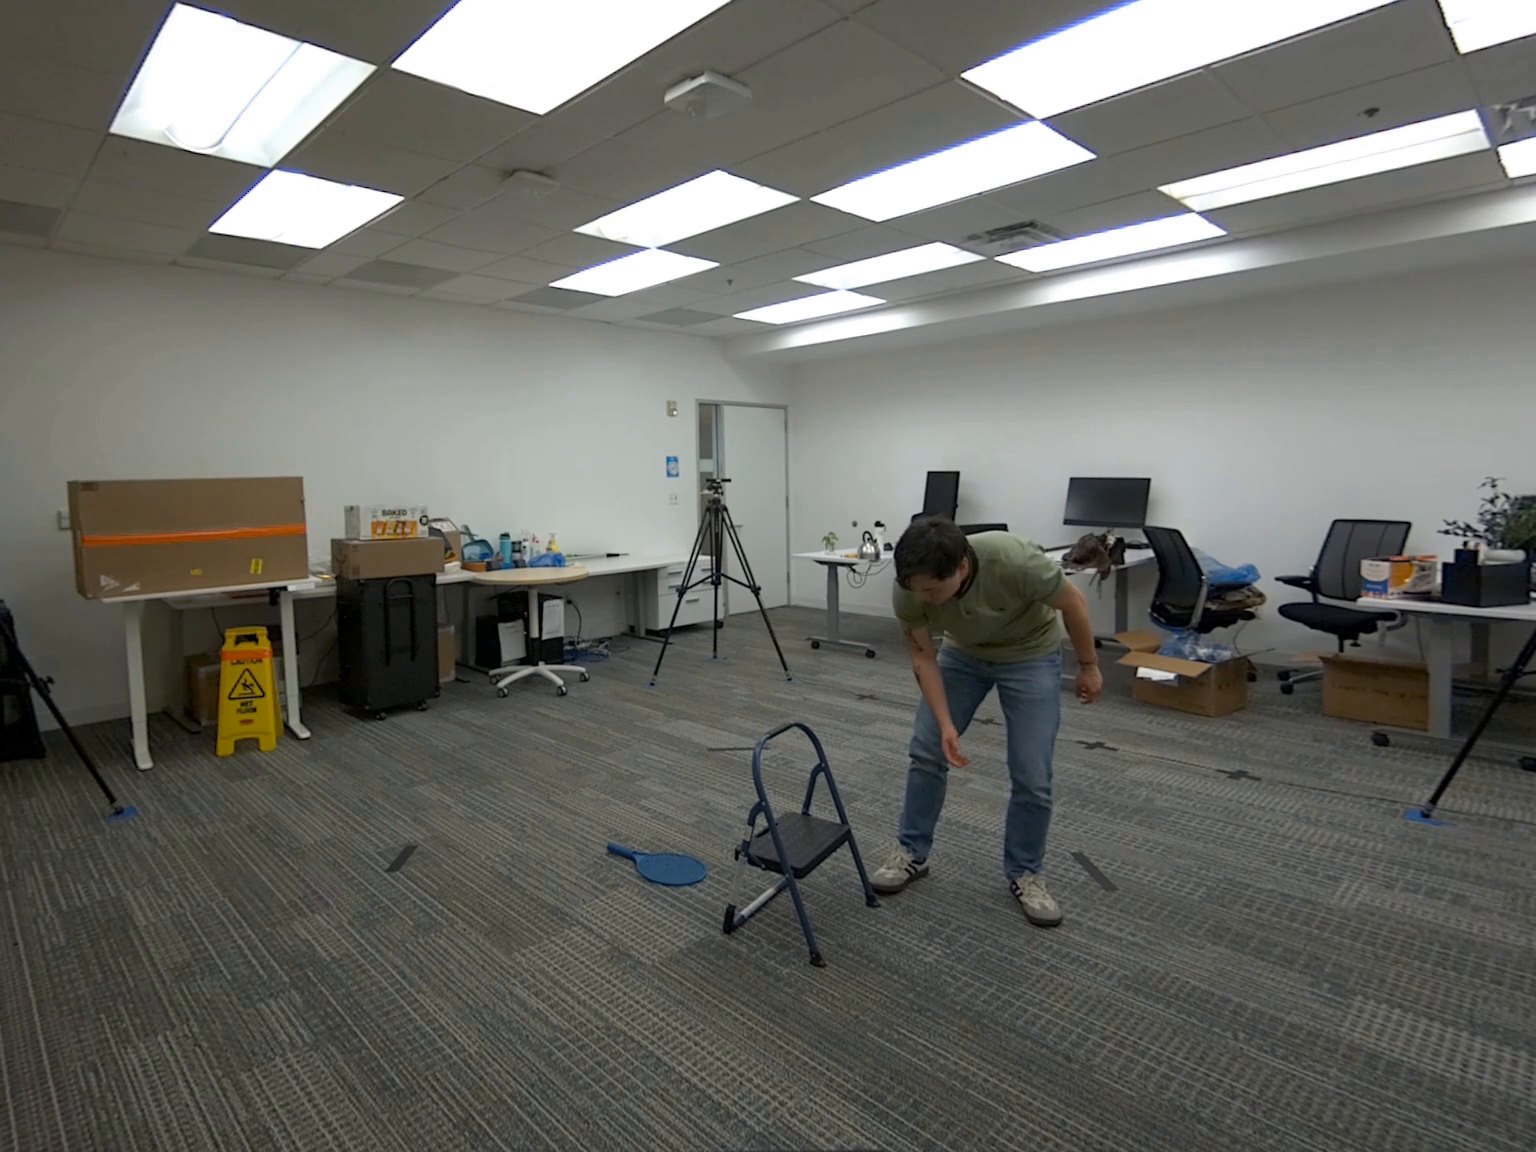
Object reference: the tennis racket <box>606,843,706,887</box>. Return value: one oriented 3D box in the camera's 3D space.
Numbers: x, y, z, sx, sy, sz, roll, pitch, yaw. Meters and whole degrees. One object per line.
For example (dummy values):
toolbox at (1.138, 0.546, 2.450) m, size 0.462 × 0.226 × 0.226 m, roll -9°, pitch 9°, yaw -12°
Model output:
tennis racket at (-0.411, 1.036, 3.096) m, size 0.445 × 0.031 × 0.209 m, roll 4°, pitch 8°, yaw 32°
